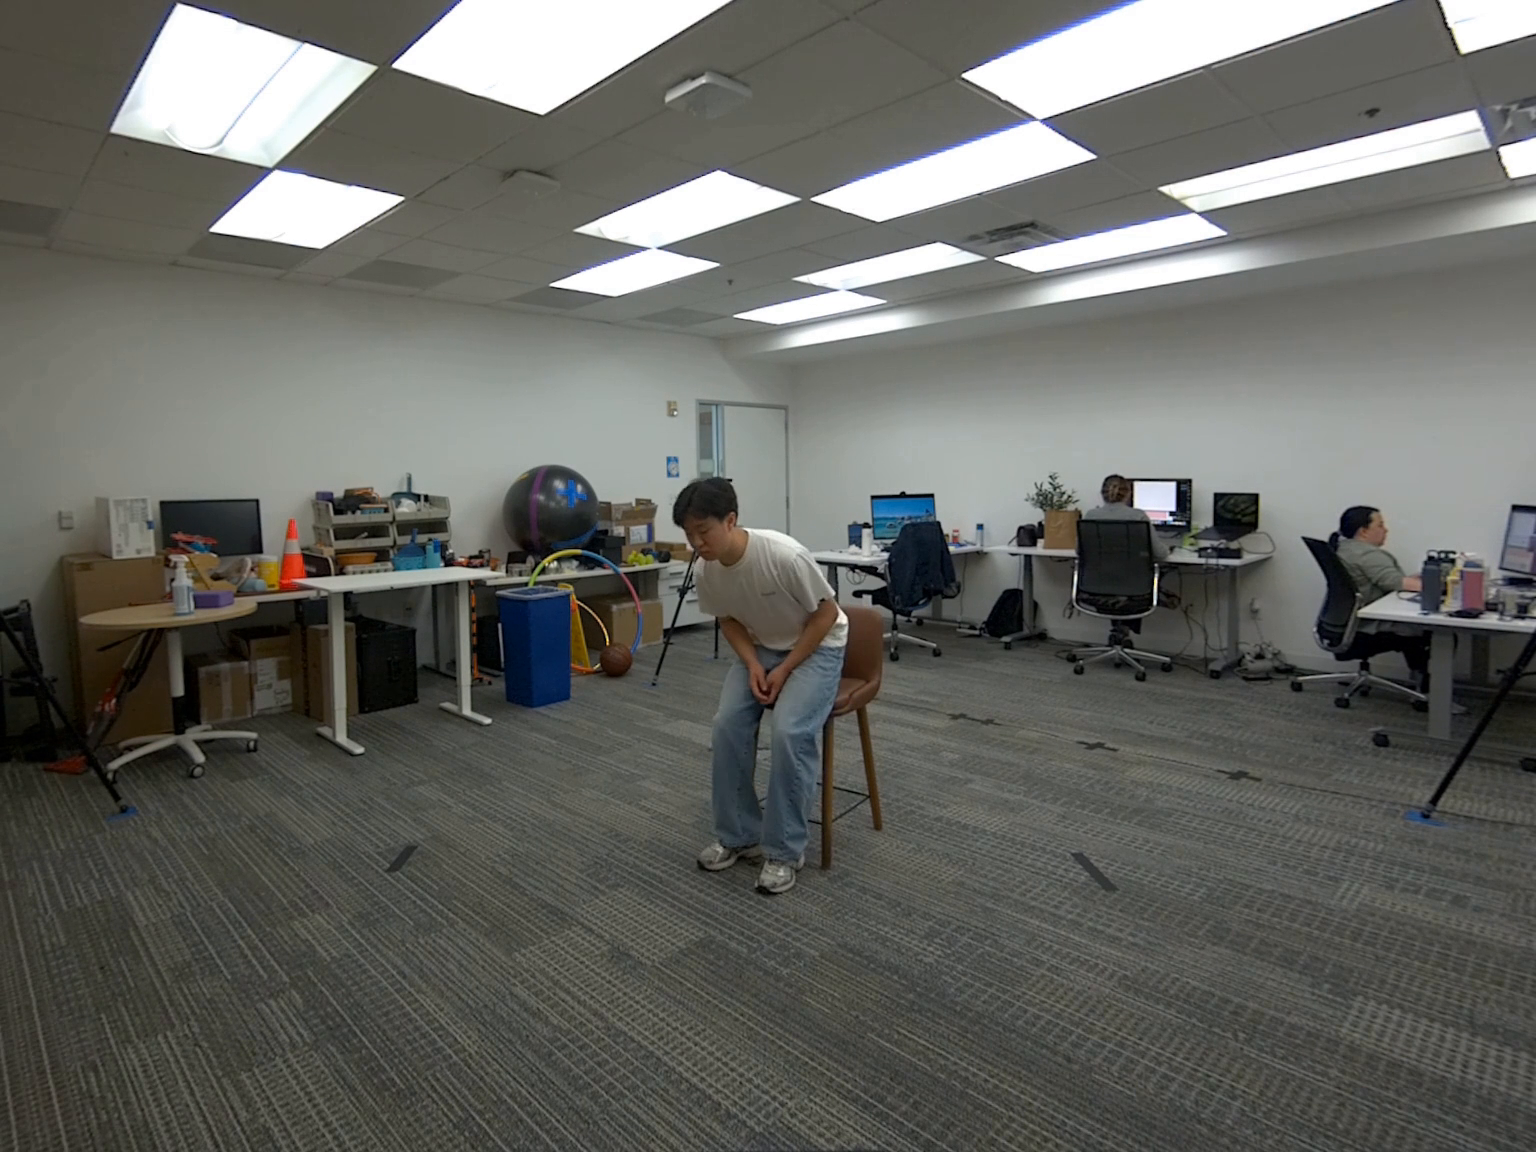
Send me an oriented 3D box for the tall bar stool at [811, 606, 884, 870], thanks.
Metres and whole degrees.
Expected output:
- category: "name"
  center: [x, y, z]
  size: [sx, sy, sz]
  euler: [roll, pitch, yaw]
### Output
- category: "tall bar stool"
  center: [0.182, 0.582, 3.323]
  size: [0.470, 0.887, 0.455]
  euler: [3, 4, 37]
